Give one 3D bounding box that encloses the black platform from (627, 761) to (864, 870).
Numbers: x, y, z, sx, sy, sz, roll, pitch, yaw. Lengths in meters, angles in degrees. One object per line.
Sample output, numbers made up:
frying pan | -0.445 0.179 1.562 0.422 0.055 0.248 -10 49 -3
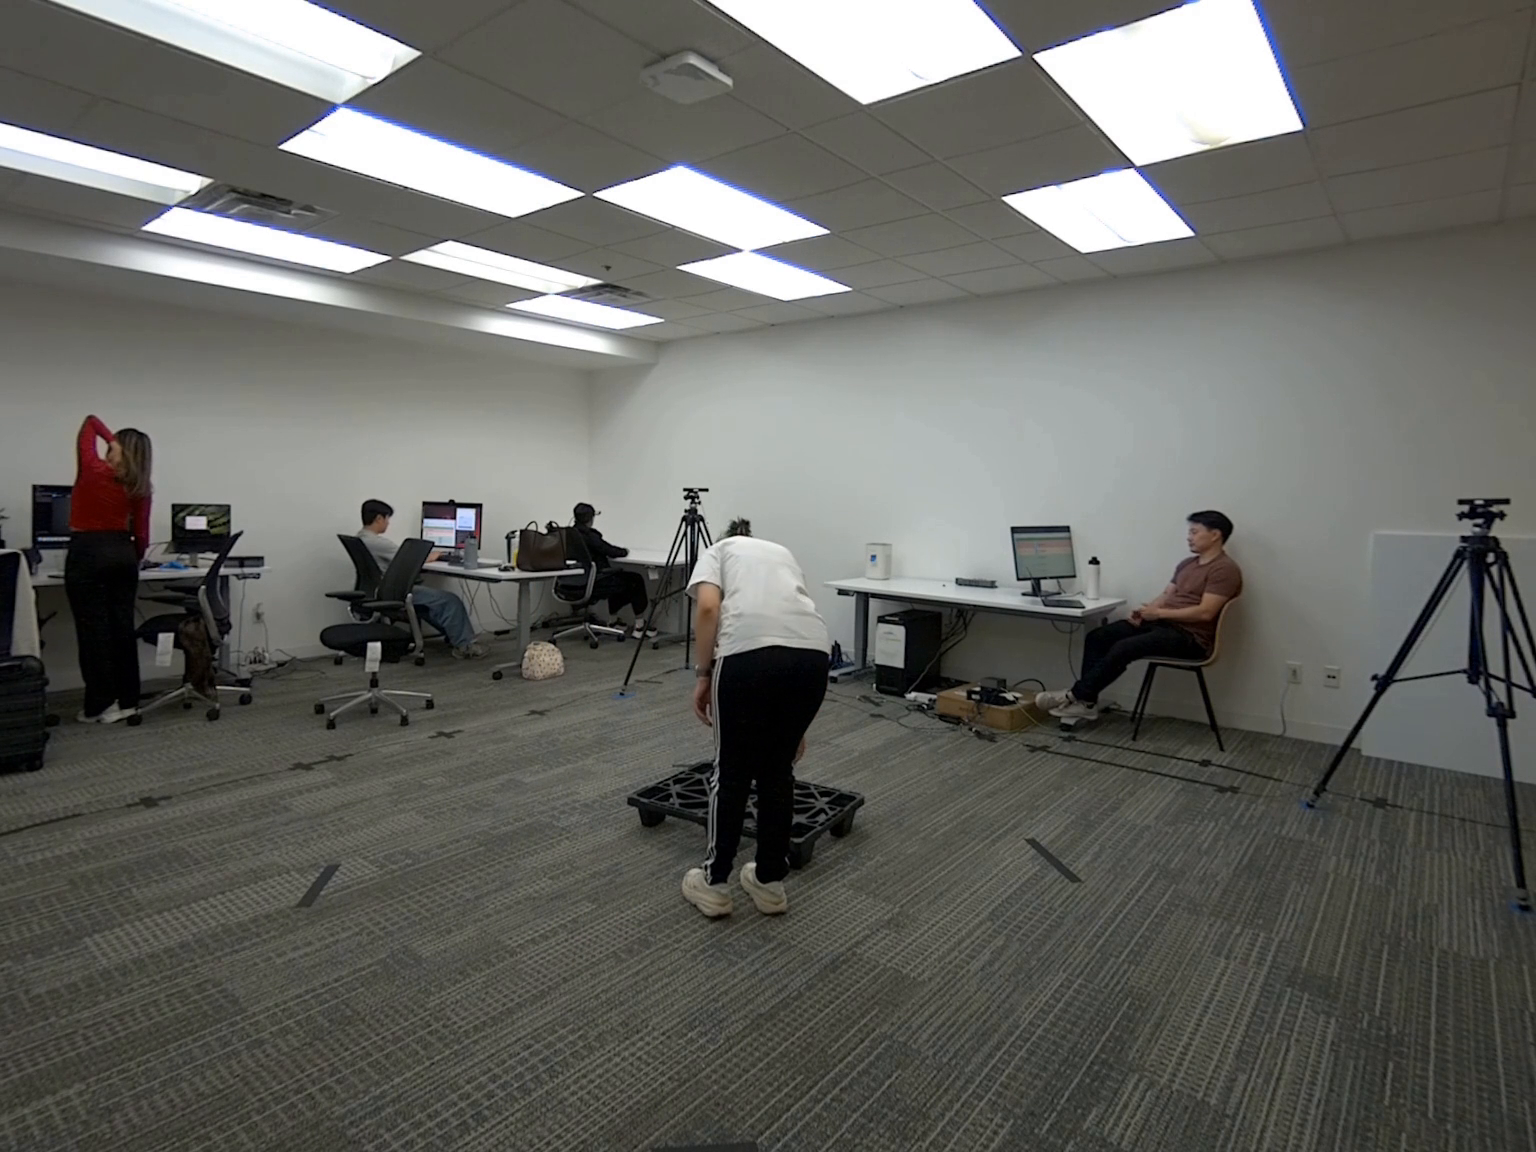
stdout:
black platform | -0.101 0.967 3.508 0.830 0.143 0.589 5 6 31
